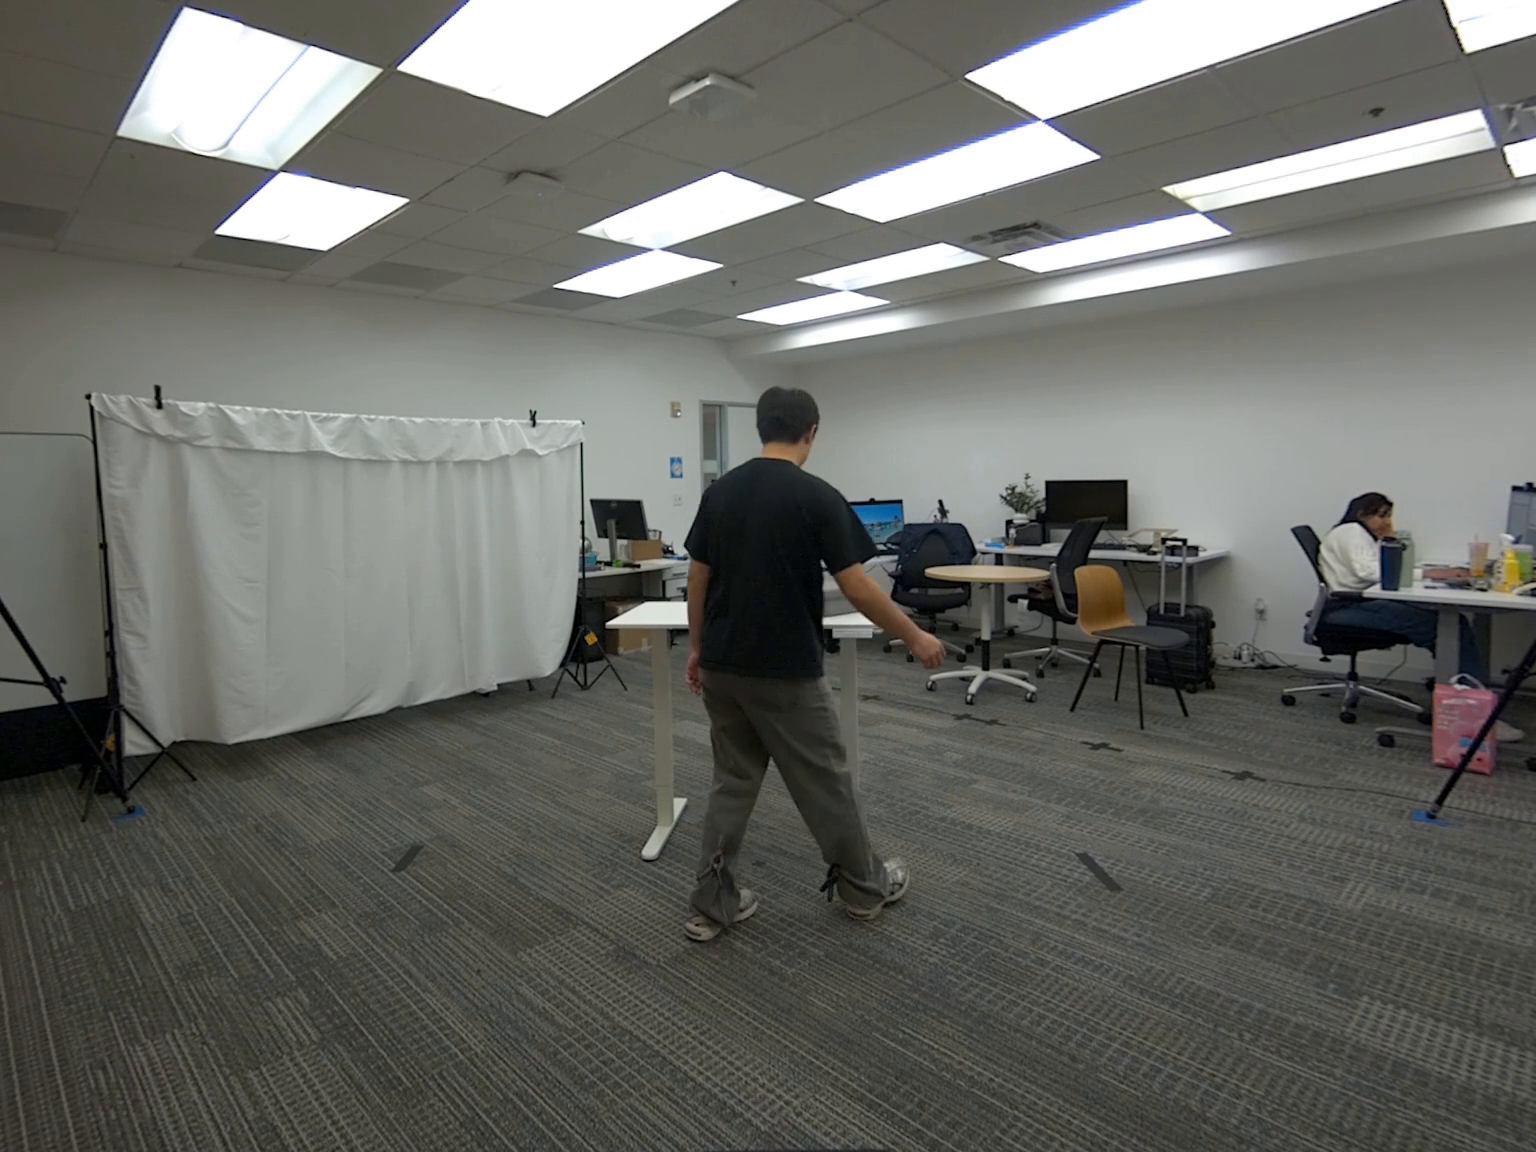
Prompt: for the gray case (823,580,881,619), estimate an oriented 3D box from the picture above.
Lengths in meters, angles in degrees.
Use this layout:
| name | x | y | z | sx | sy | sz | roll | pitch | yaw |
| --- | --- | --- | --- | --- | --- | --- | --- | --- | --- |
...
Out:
| name | x | y | z | sx | sy | sz | roll | pitch | yaw |
| --- | --- | --- | --- | --- | --- | --- | --- | --- | --- |
| gray case | 0.234 | 0.083 | 3.300 | 0.280 | 0.103 | 0.271 | -5 | 6 | -38 |
